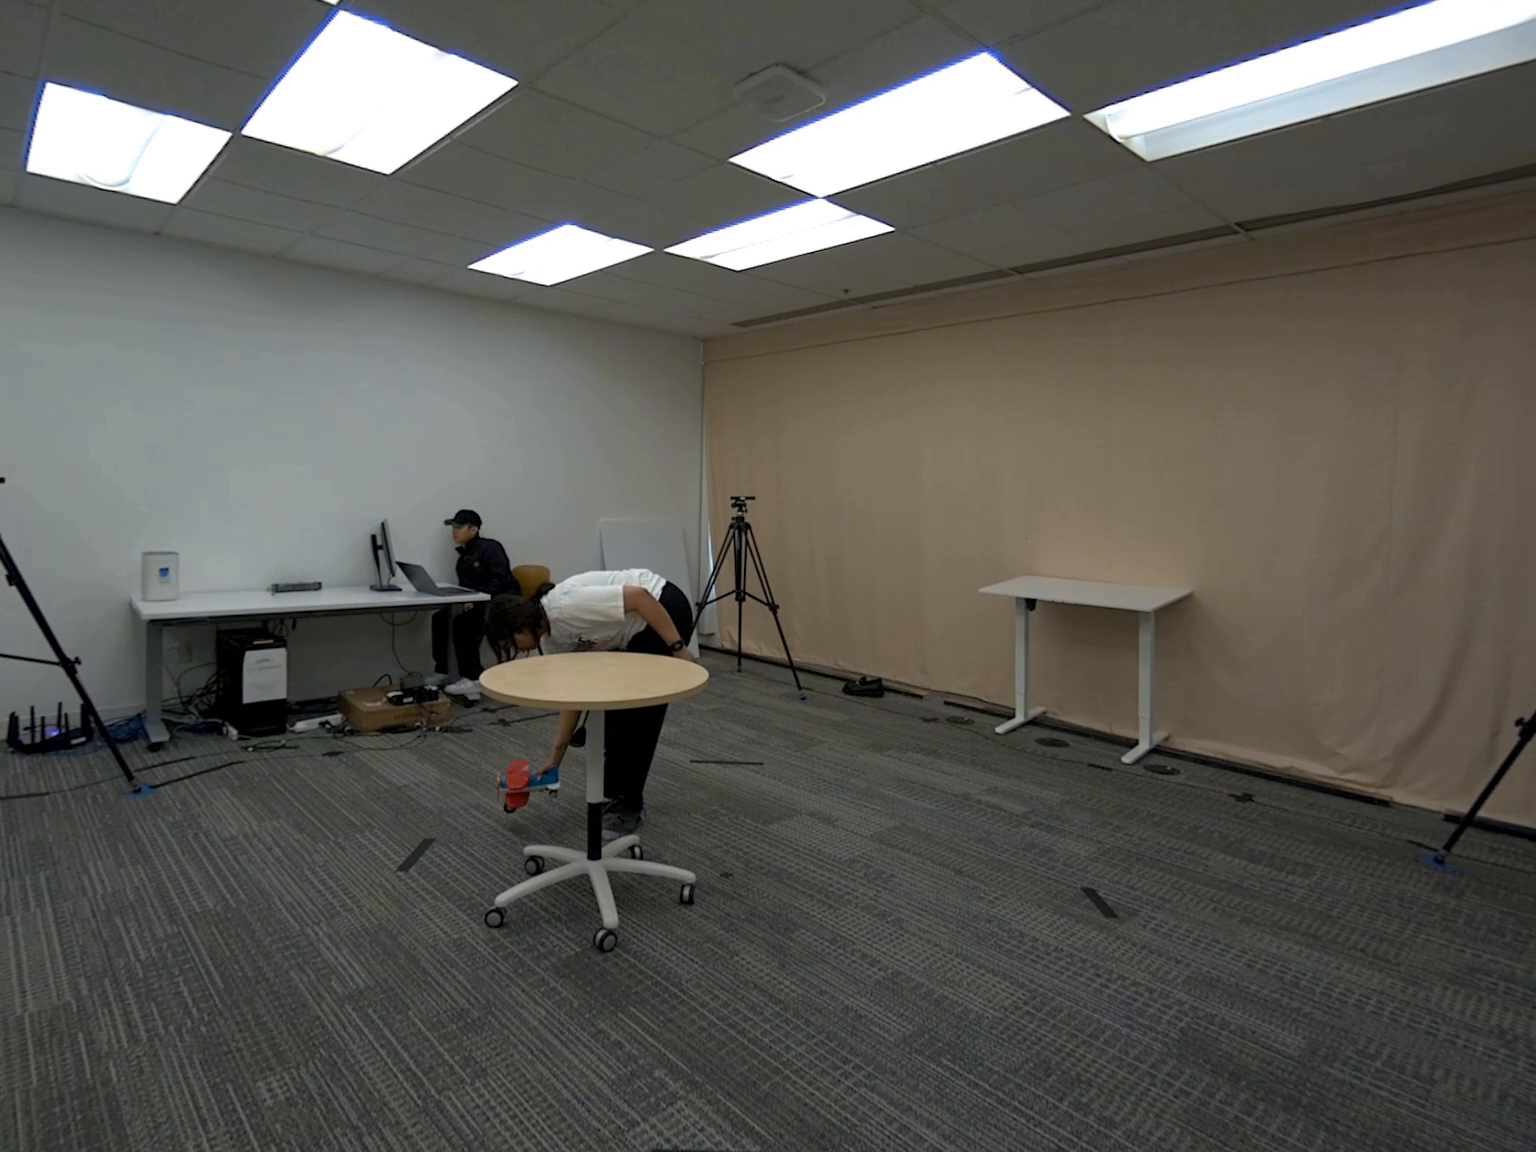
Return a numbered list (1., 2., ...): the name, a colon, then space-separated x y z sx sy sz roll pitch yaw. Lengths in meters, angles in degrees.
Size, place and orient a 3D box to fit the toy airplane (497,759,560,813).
1. toy airplane: -1.022 0.868 3.515 0.256 0.154 0.257 -22 18 -37
